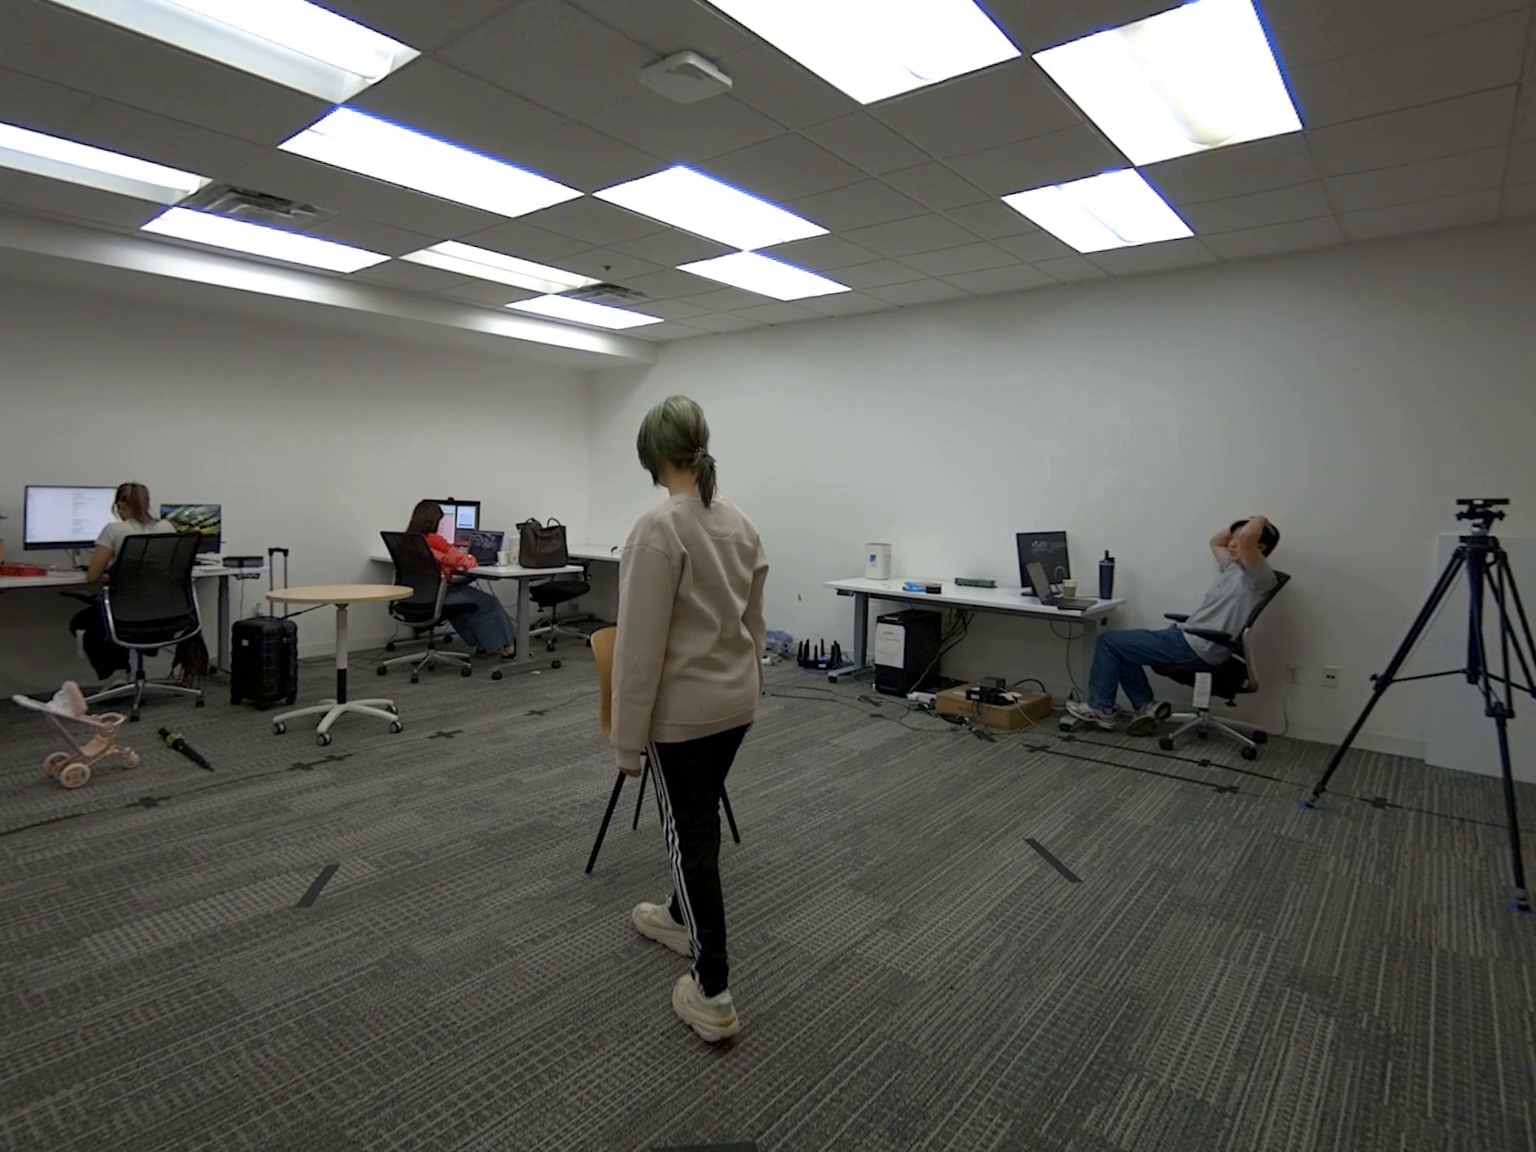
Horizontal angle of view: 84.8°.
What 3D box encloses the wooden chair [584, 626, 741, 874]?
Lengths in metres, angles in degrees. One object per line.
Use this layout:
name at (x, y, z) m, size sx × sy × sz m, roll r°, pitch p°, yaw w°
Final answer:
wooden chair at (-0.370, 0.628, 3.173) m, size 0.532 × 0.876 × 0.471 m, roll -2°, pitch 2°, yaw 16°
